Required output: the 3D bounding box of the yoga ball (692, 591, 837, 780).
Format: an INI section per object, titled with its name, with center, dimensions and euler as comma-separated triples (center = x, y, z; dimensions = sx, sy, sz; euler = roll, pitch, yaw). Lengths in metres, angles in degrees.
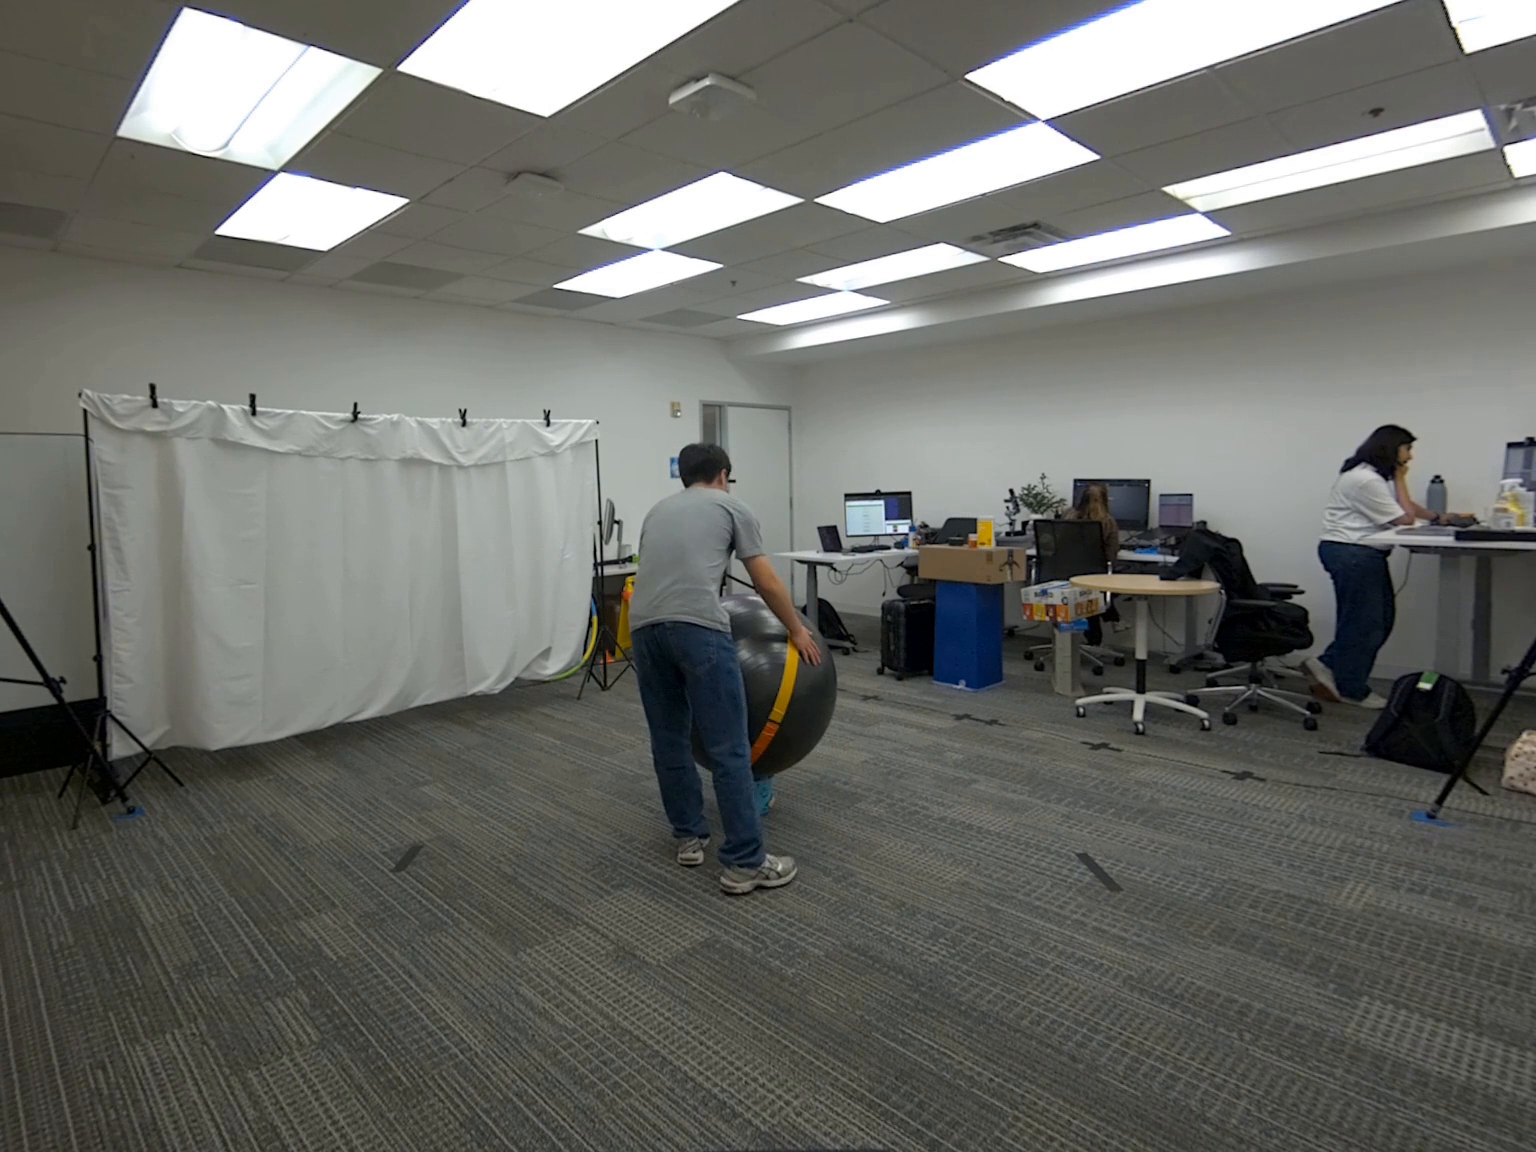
[yoga ball]
center = -0.089, 0.459, 3.594
dimensions = 0.757, 0.755, 0.762
euler = -1, 5, -2
